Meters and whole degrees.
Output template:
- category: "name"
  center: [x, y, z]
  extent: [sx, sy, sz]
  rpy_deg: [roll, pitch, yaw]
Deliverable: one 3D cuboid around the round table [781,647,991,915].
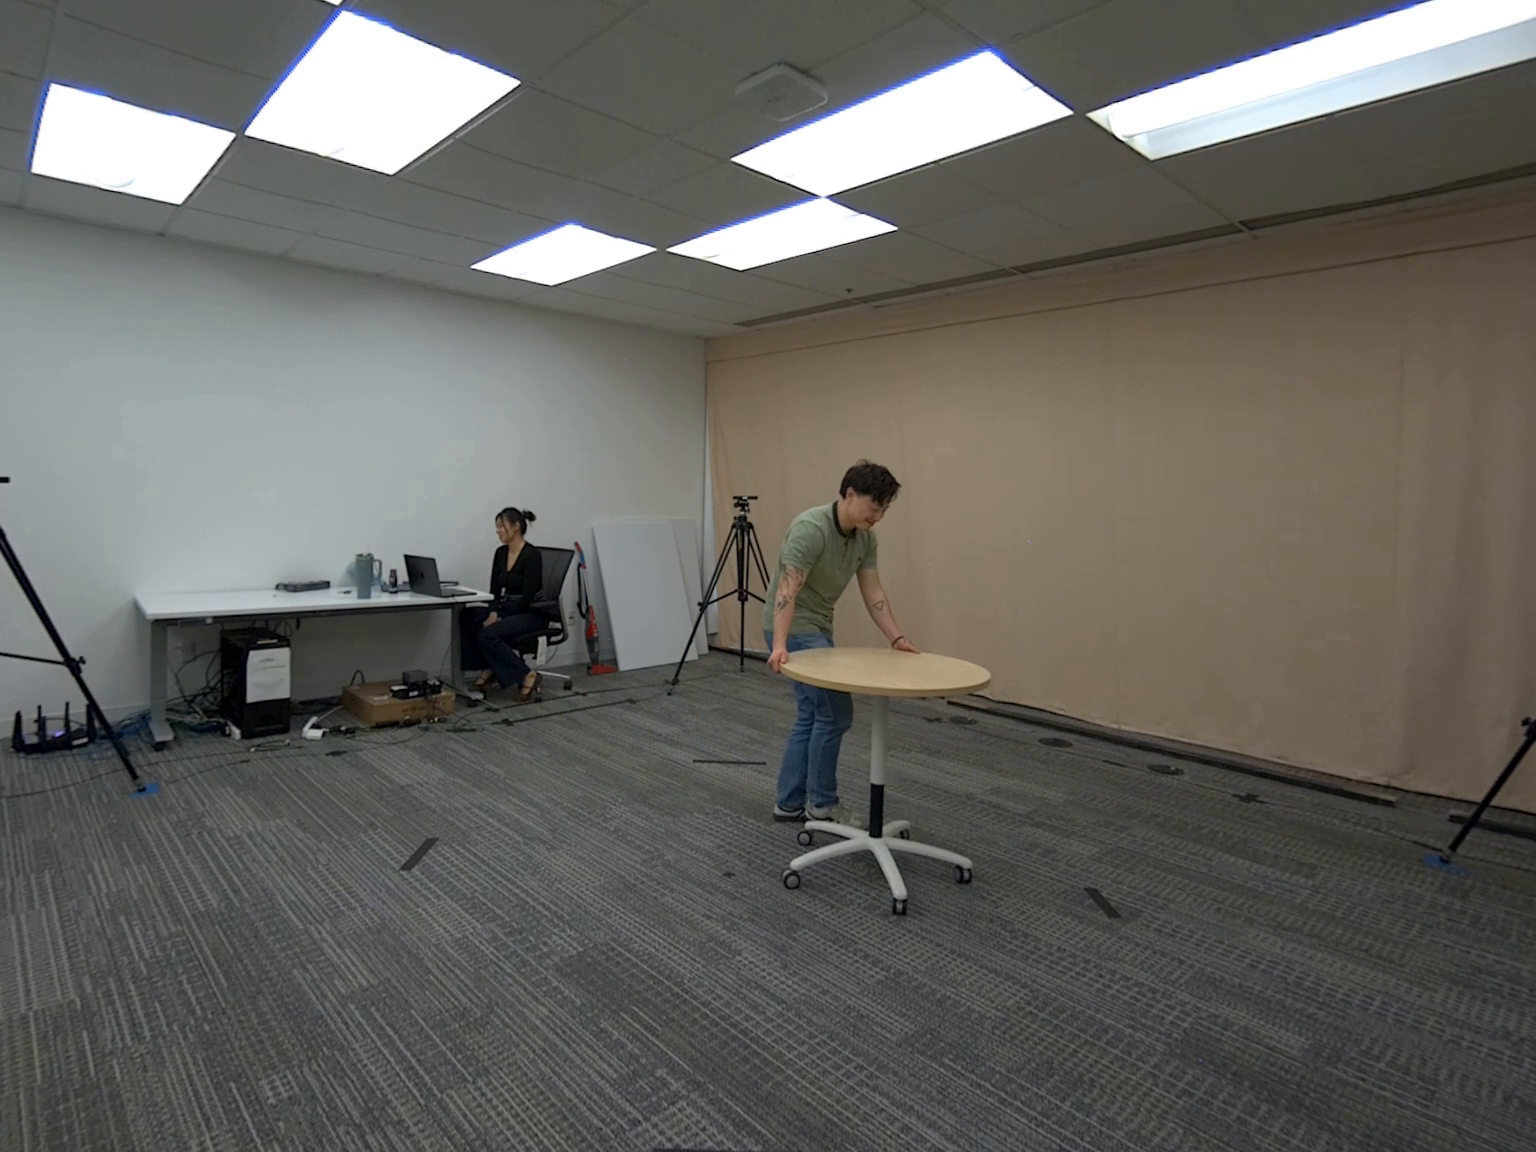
- category: "round table"
  center: [0.396, 0.723, 3.130]
  extent: [0.763, 0.792, 0.766]
  rpy_deg: [2, 4, -1]
